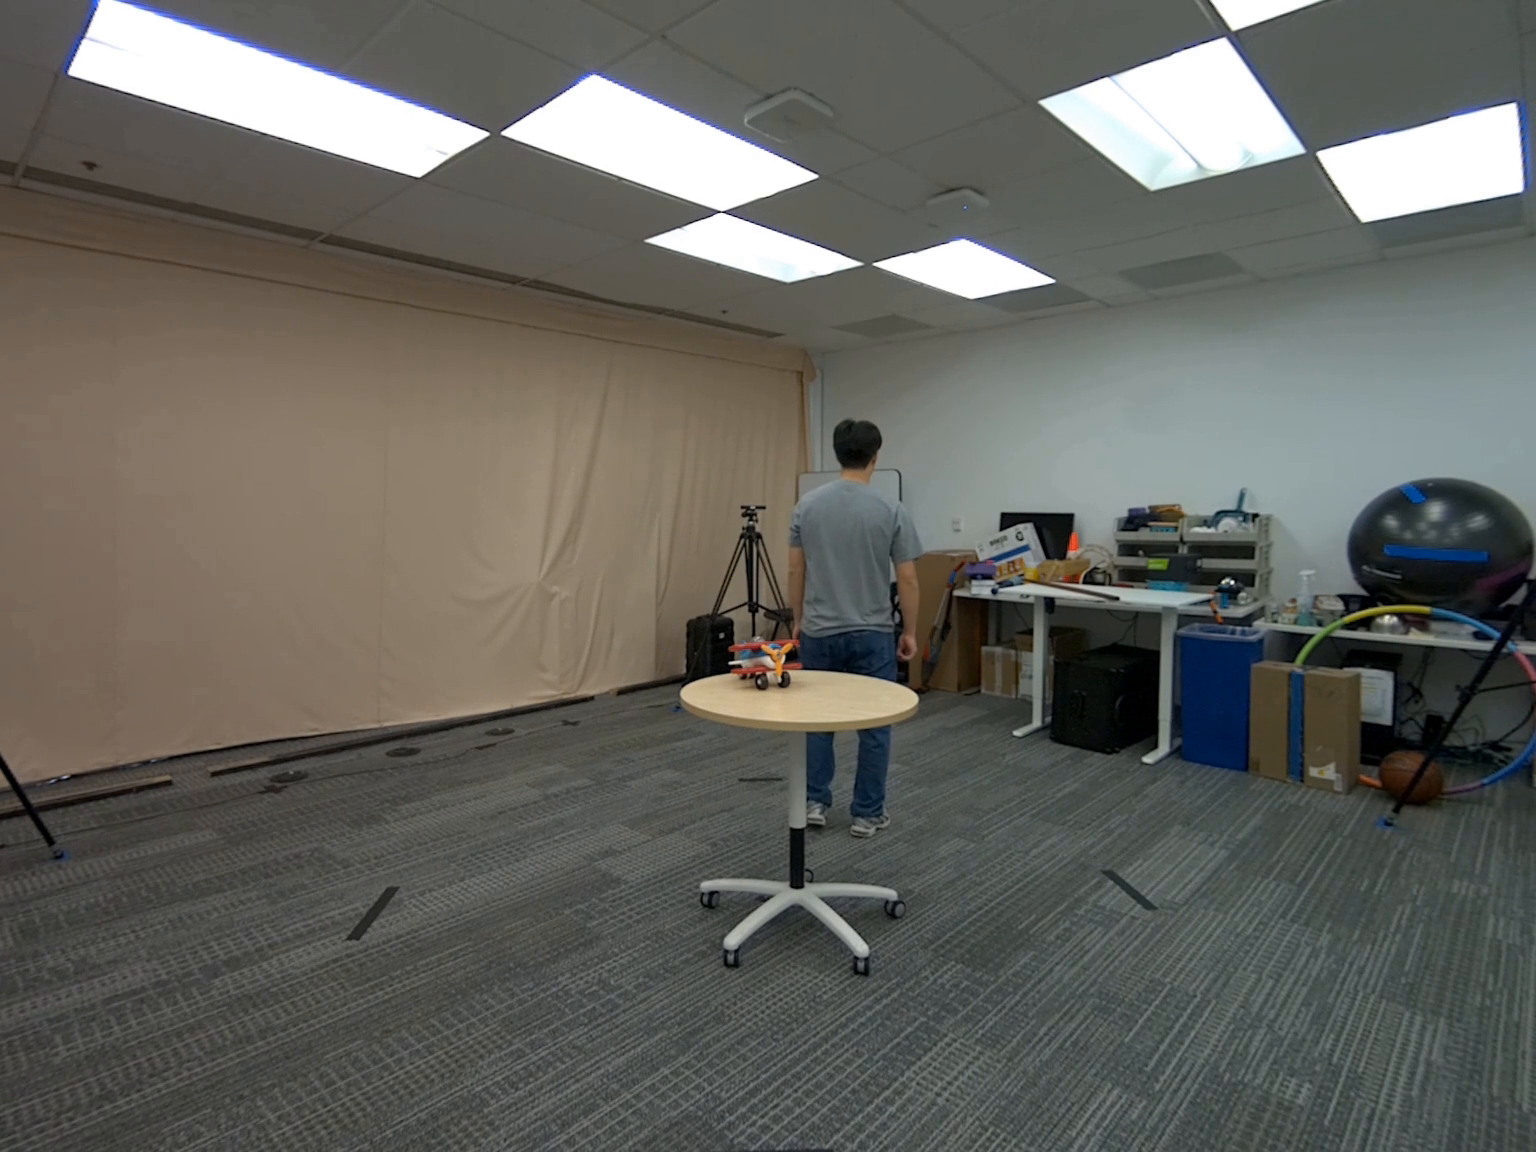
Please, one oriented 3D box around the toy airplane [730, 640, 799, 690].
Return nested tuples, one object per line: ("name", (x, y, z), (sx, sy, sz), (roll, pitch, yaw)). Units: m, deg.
("toy airplane", (-0.033, 0.295, 2.863), (0.267, 0.156, 0.244), (3, 5, 34))
